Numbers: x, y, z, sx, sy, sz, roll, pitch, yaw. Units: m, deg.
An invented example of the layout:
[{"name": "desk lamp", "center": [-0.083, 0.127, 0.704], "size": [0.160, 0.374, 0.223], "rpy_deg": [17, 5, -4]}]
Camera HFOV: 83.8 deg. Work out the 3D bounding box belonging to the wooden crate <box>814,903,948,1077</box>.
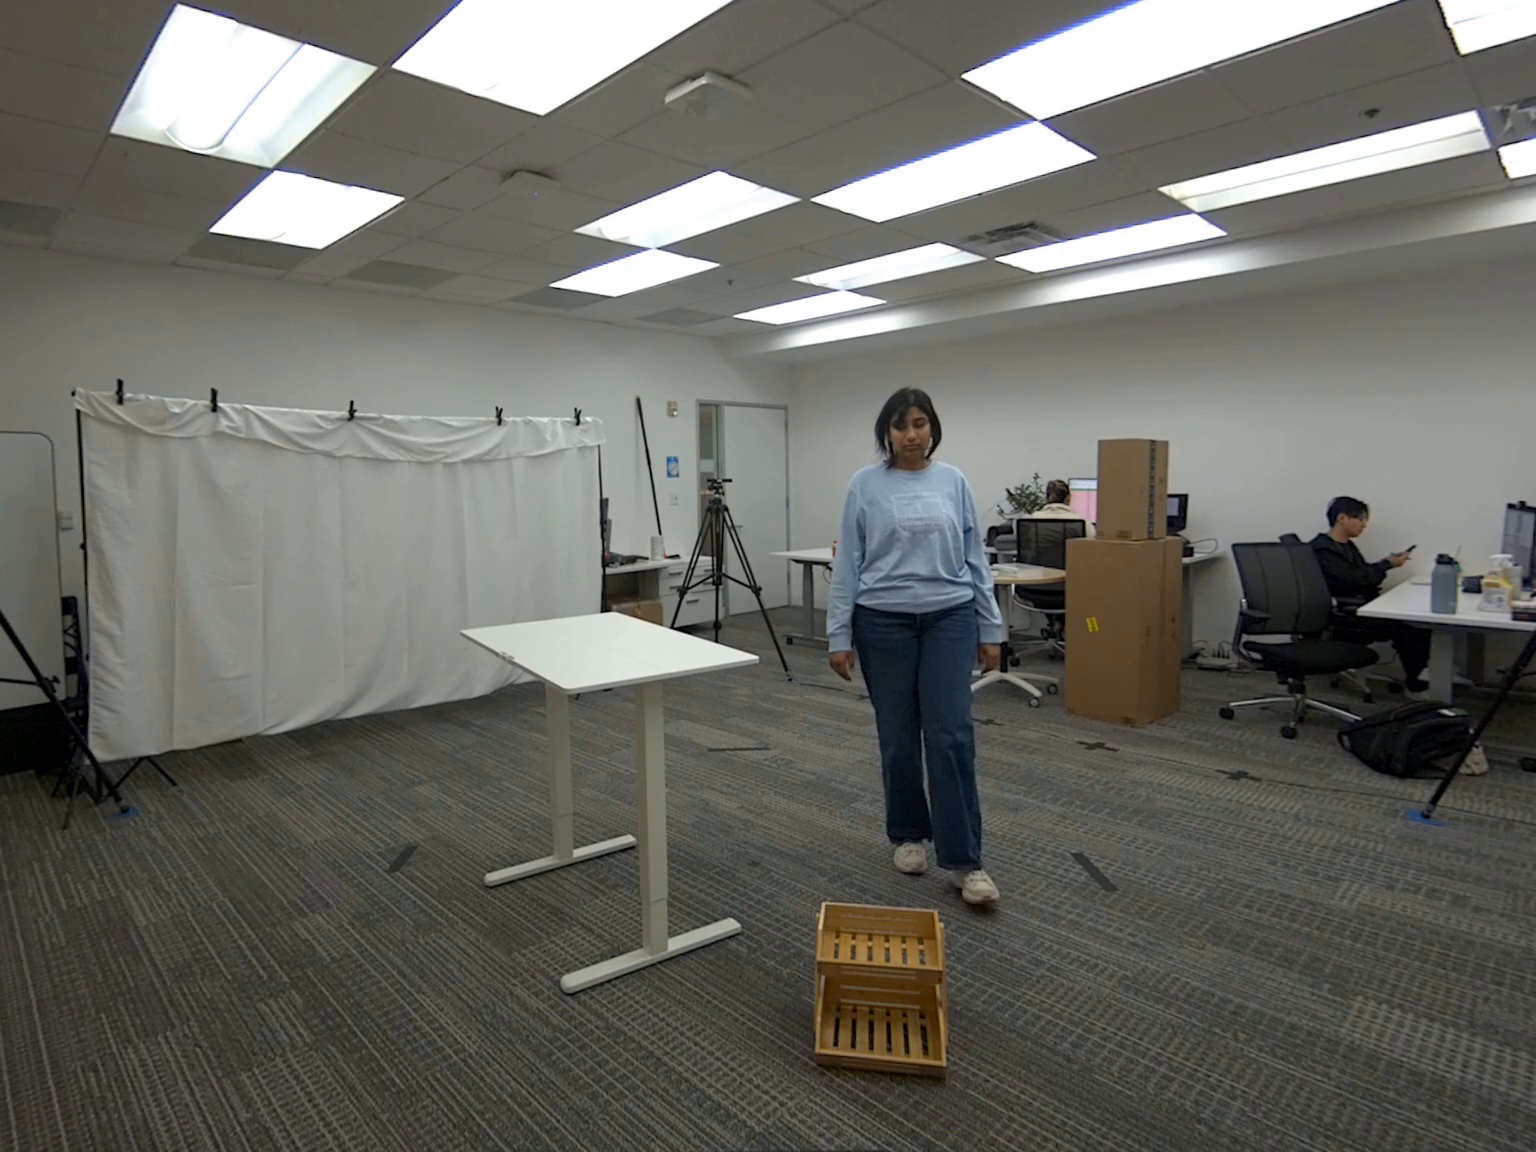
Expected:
[{"name": "wooden crate", "center": [0.290, 1.024, 2.115], "size": [0.327, 0.272, 0.300], "rpy_deg": [-1, 5, 8]}]
